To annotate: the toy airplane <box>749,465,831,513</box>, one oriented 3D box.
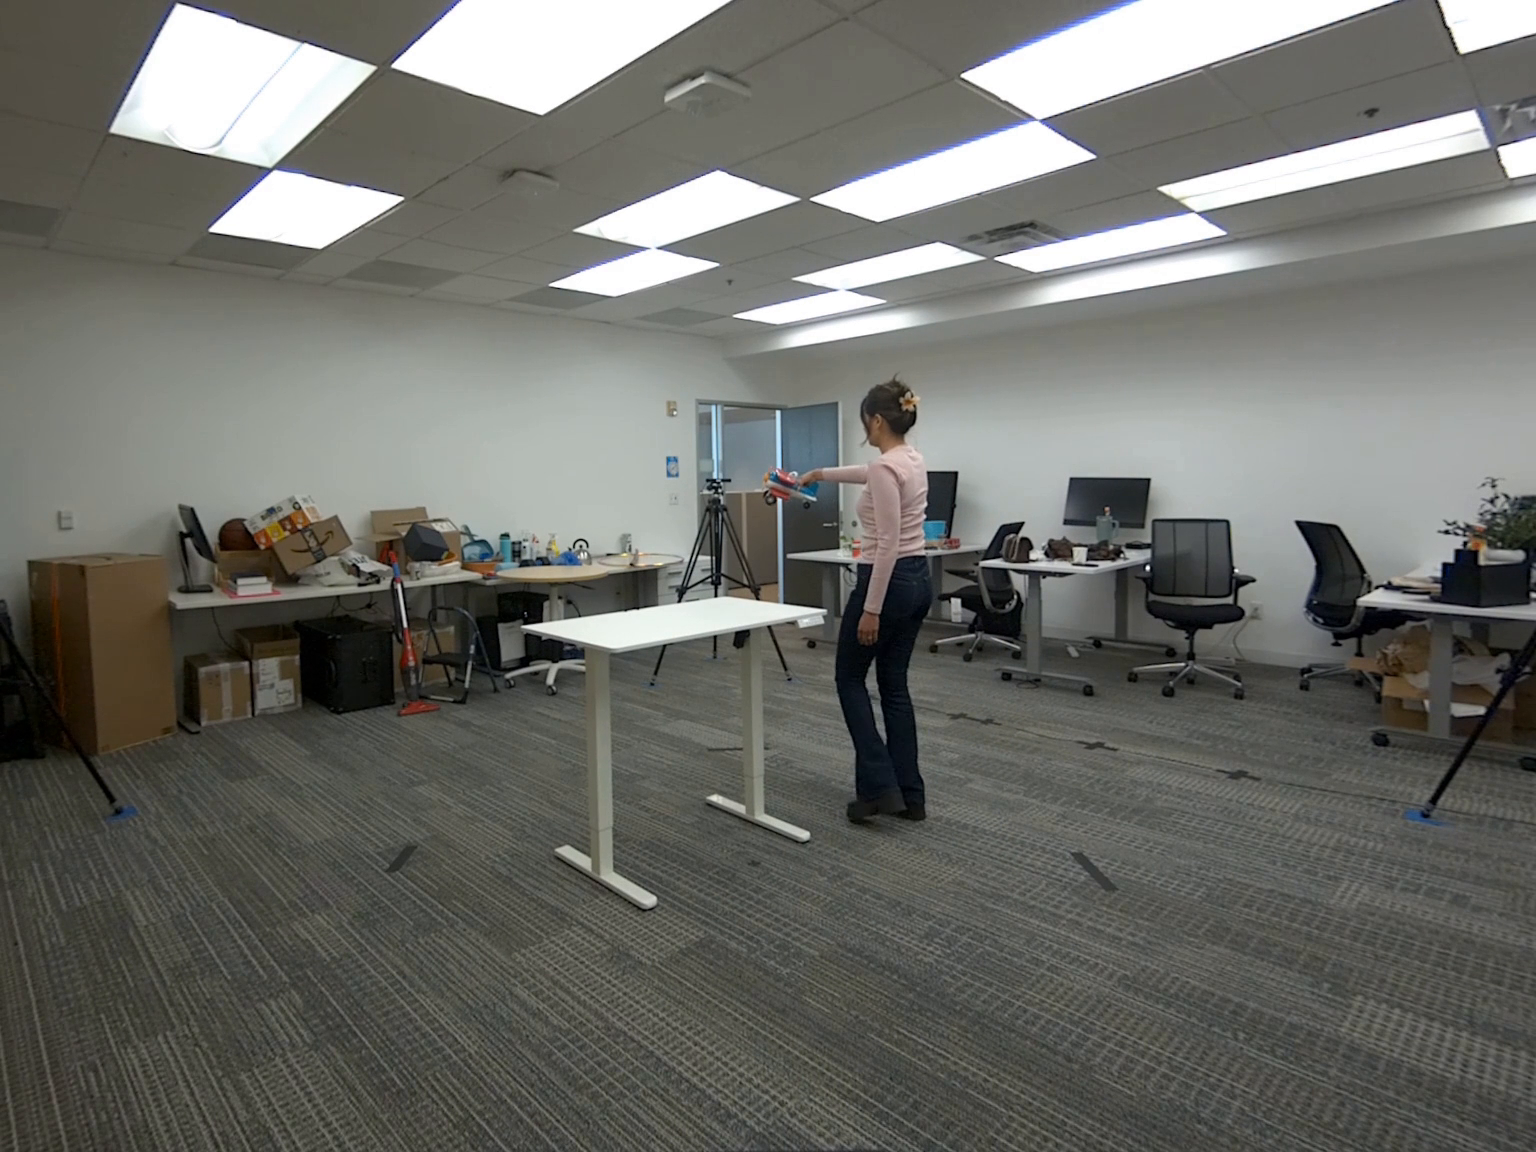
[{"bbox_3d":[0.101,-0.409,4.000,0.252,0.154,0.260,-1,20,-33],"label":"toy airplane"}]
